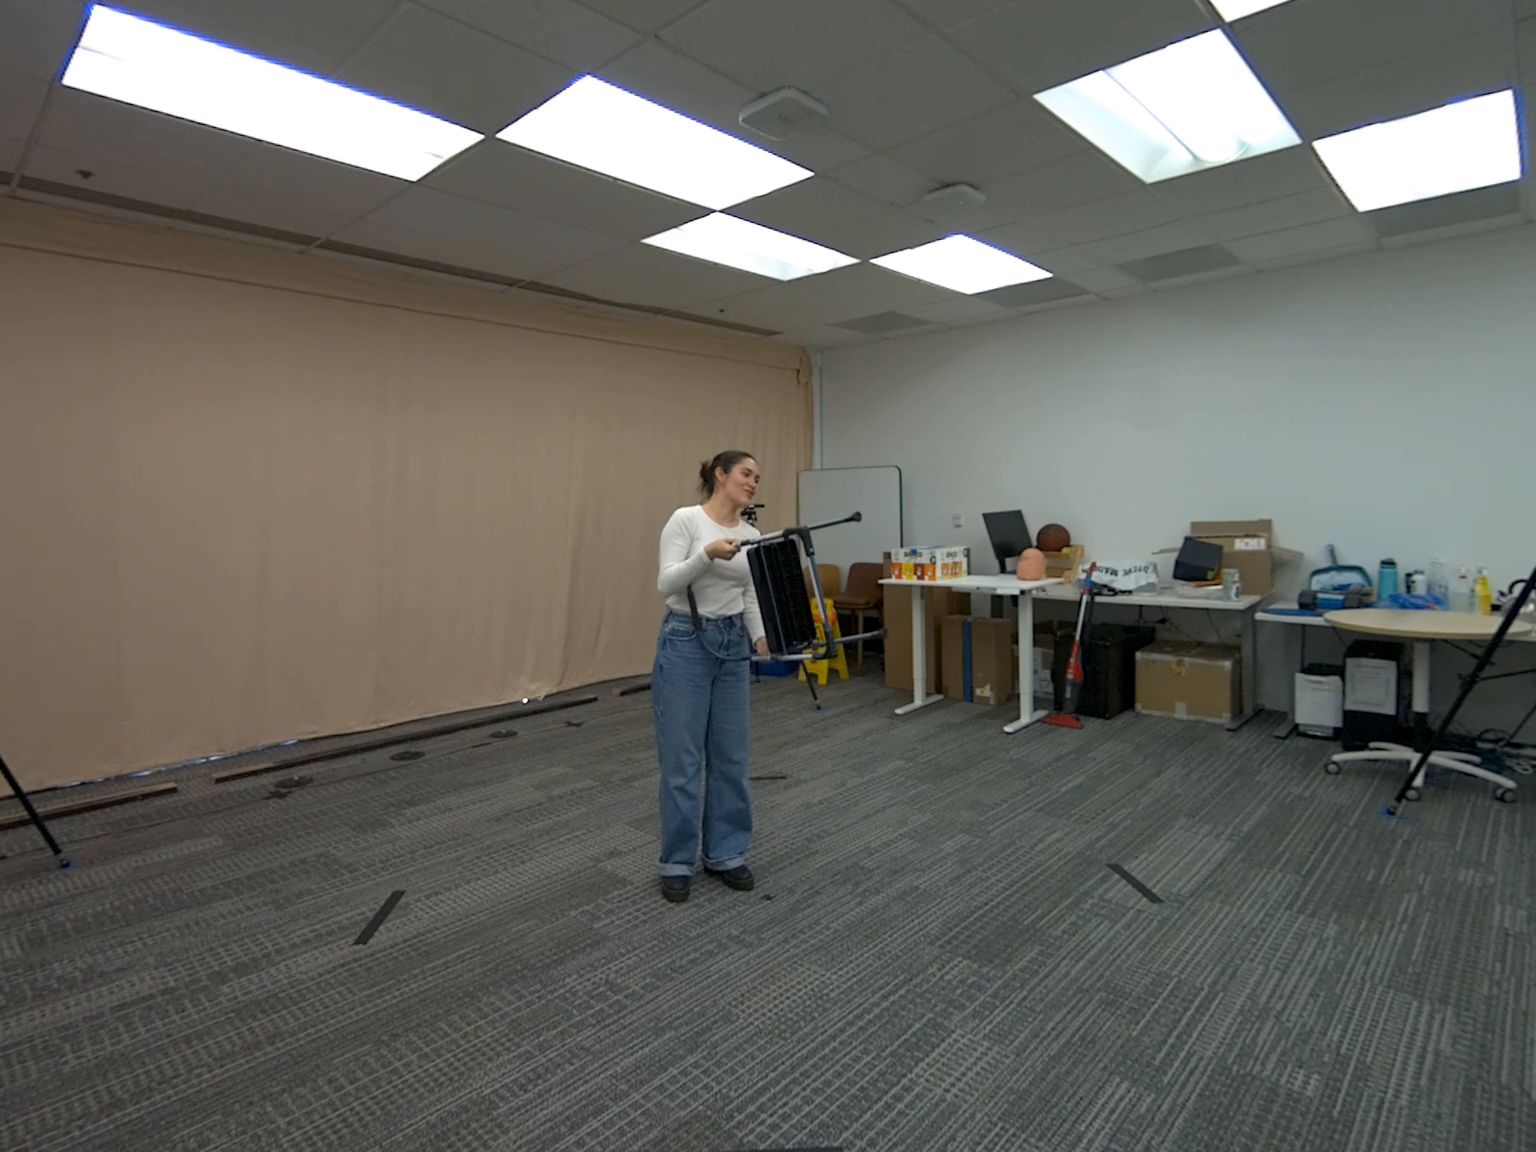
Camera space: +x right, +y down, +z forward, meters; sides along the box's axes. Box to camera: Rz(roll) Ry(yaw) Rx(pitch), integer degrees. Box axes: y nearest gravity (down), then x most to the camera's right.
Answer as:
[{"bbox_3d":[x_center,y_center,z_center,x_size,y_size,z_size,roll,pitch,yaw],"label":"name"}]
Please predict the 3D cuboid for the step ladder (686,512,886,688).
[{"bbox_3d":[0.028,0.065,2.857,0.622,0.431,0.340,-14,0,39],"label":"step ladder"}]
